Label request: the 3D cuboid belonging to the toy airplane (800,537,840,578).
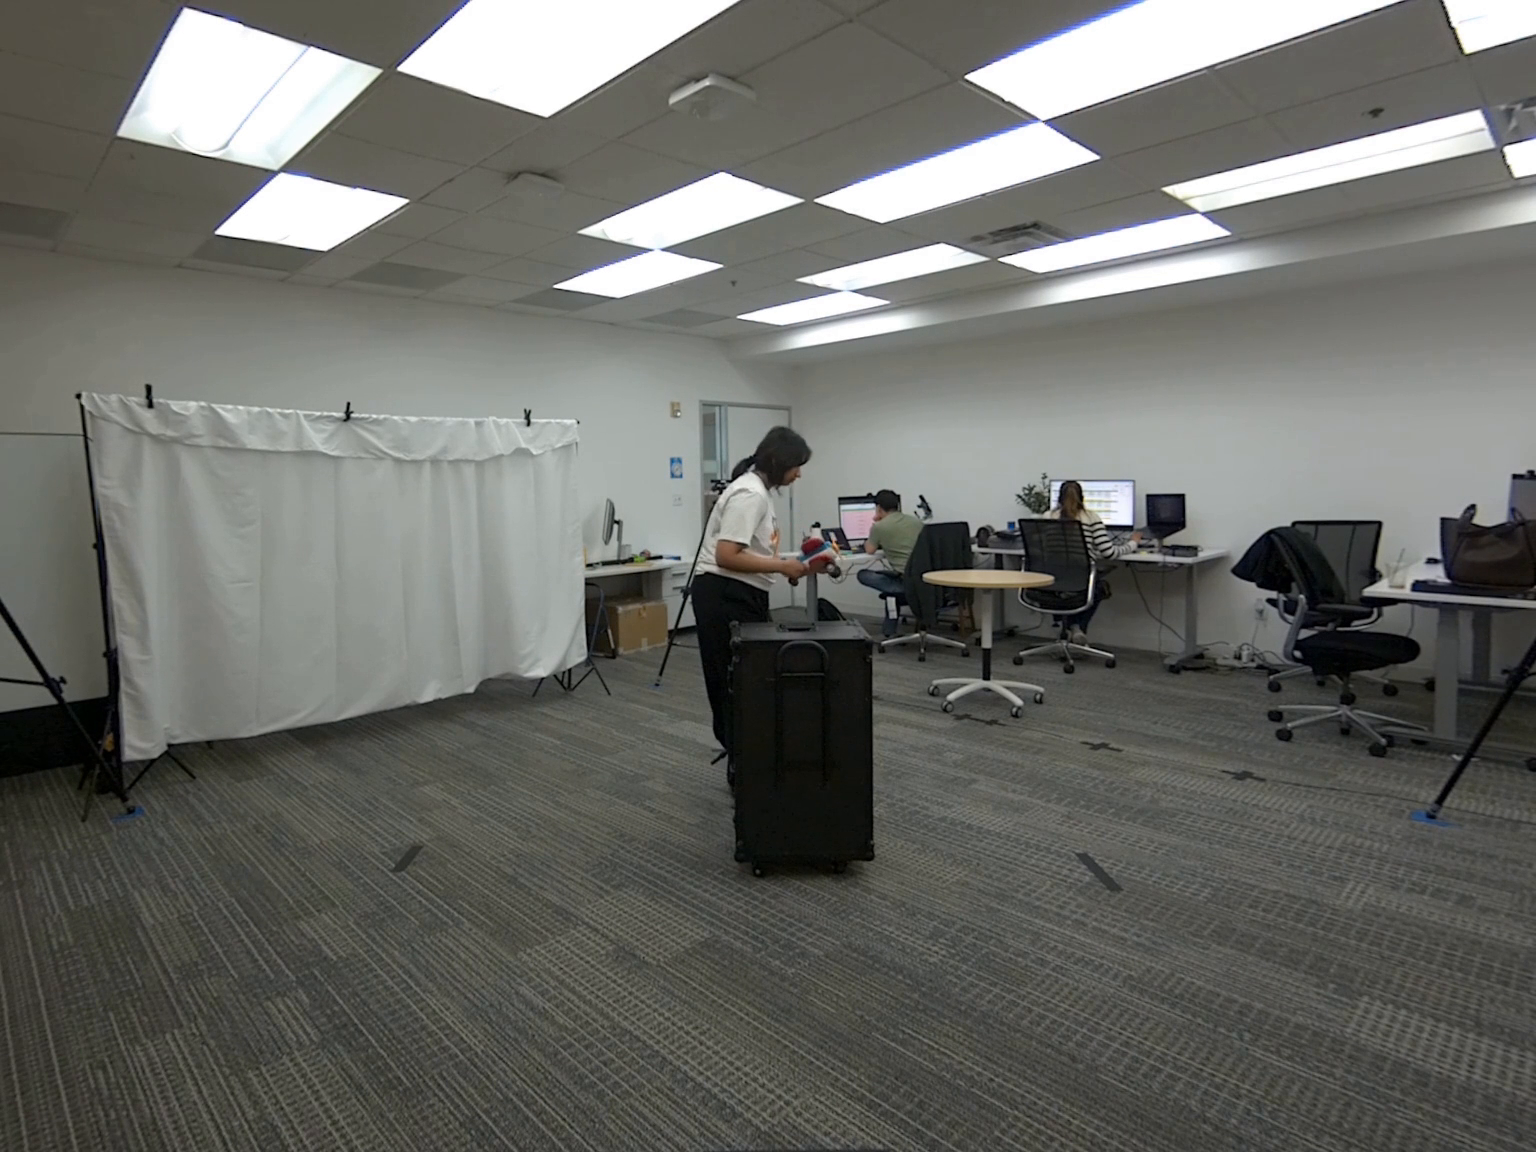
[{"bbox_3d":[0.177,-0.051,3.606,0.257,0.159,0.249,-7,-16,-10],"label":"toy airplane"}]
